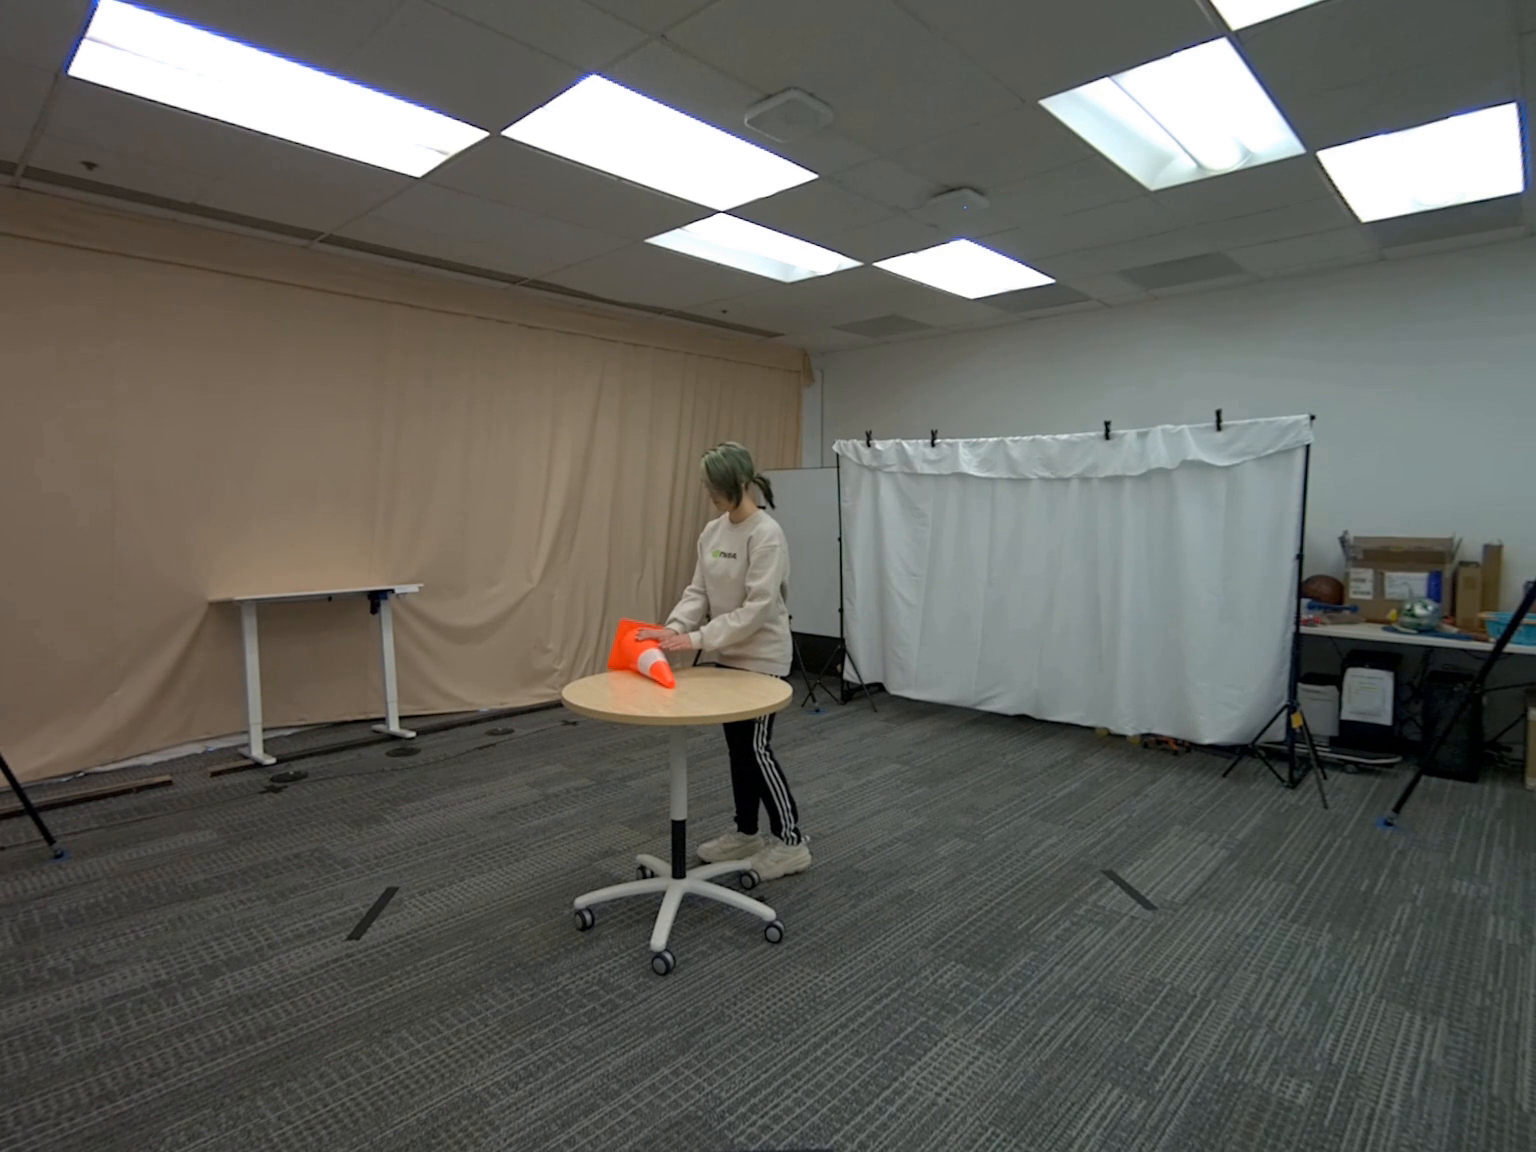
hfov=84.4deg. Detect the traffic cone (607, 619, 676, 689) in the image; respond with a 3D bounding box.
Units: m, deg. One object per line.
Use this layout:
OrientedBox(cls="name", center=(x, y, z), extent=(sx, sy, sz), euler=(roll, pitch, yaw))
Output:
OrientedBox(cls="traffic cone", center=(-0.410, 0.323, 2.975), extent=(0.199, 0.203, 0.396), euler=(15, 7, -31))
